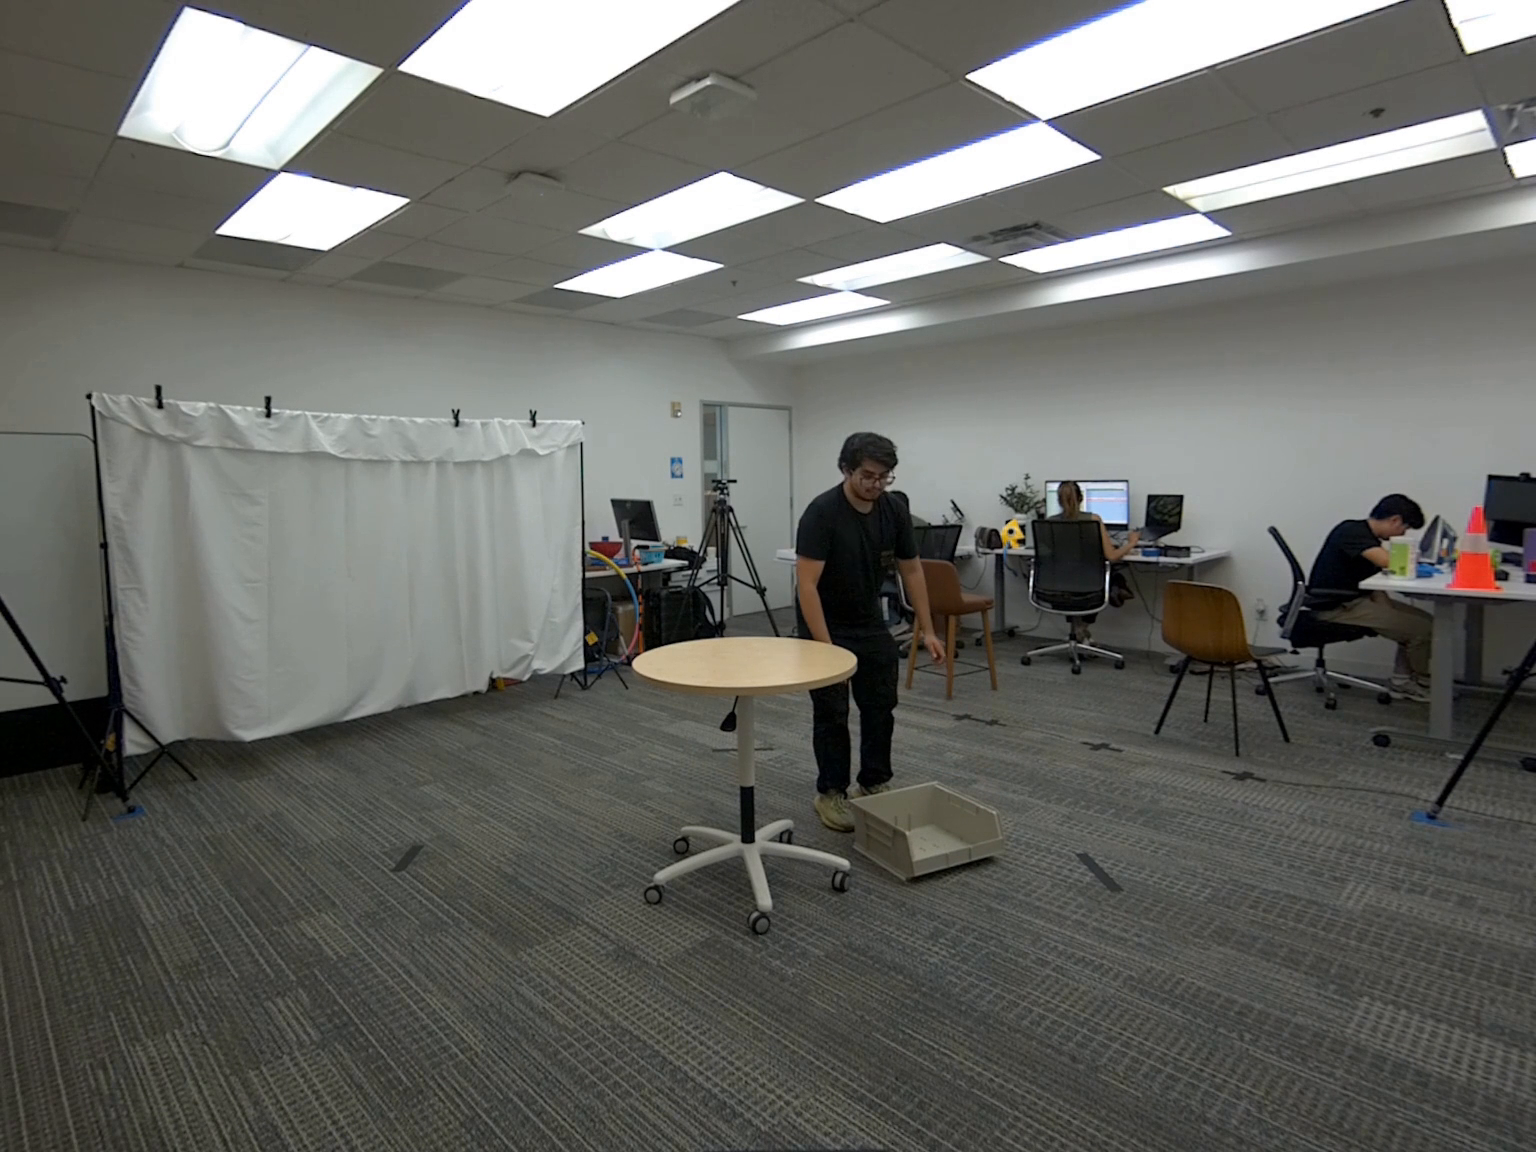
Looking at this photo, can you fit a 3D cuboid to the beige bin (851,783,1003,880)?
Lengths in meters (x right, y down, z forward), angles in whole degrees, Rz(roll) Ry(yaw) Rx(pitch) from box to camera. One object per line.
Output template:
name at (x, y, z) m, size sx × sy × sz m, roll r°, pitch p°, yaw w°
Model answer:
beige bin at (0.587, 0.941, 3.164) m, size 0.413 × 0.188 × 0.387 m, roll -4°, pitch 5°, yaw -28°
